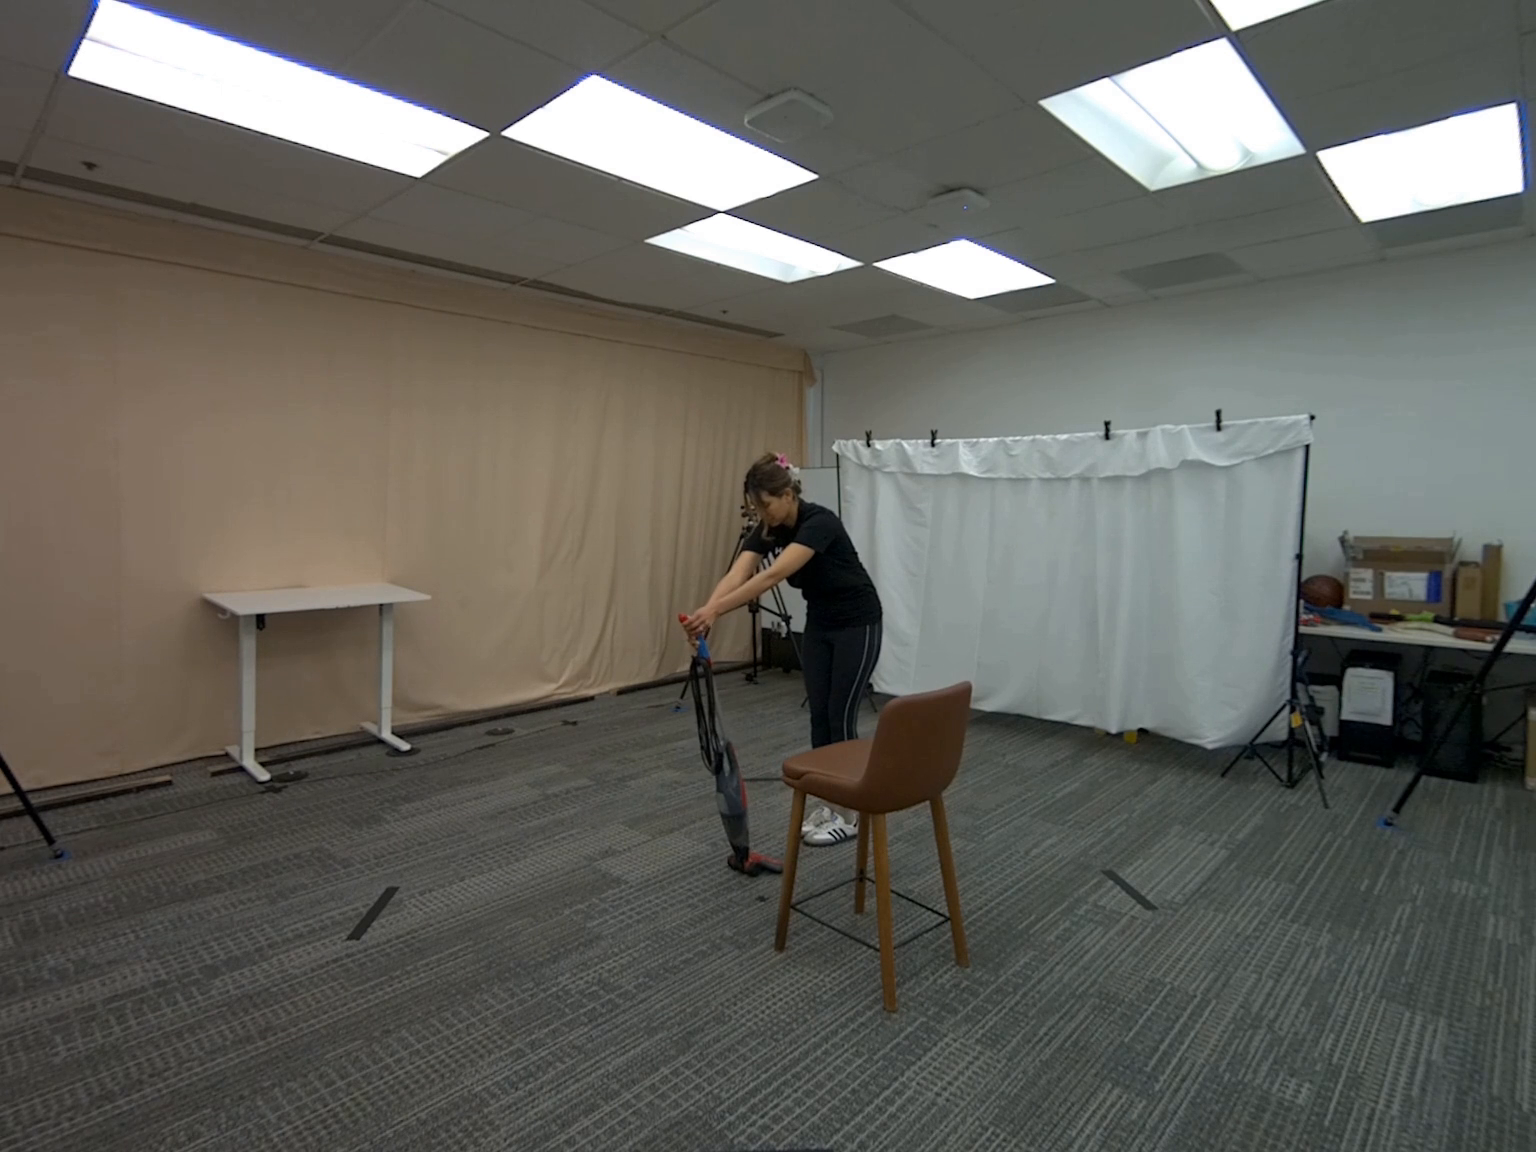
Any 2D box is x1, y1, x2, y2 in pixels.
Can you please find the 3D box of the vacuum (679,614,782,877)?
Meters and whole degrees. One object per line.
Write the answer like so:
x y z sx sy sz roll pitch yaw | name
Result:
-0.175 0.635 3.124 0.261 1.036 0.141 0 20 46 | vacuum
